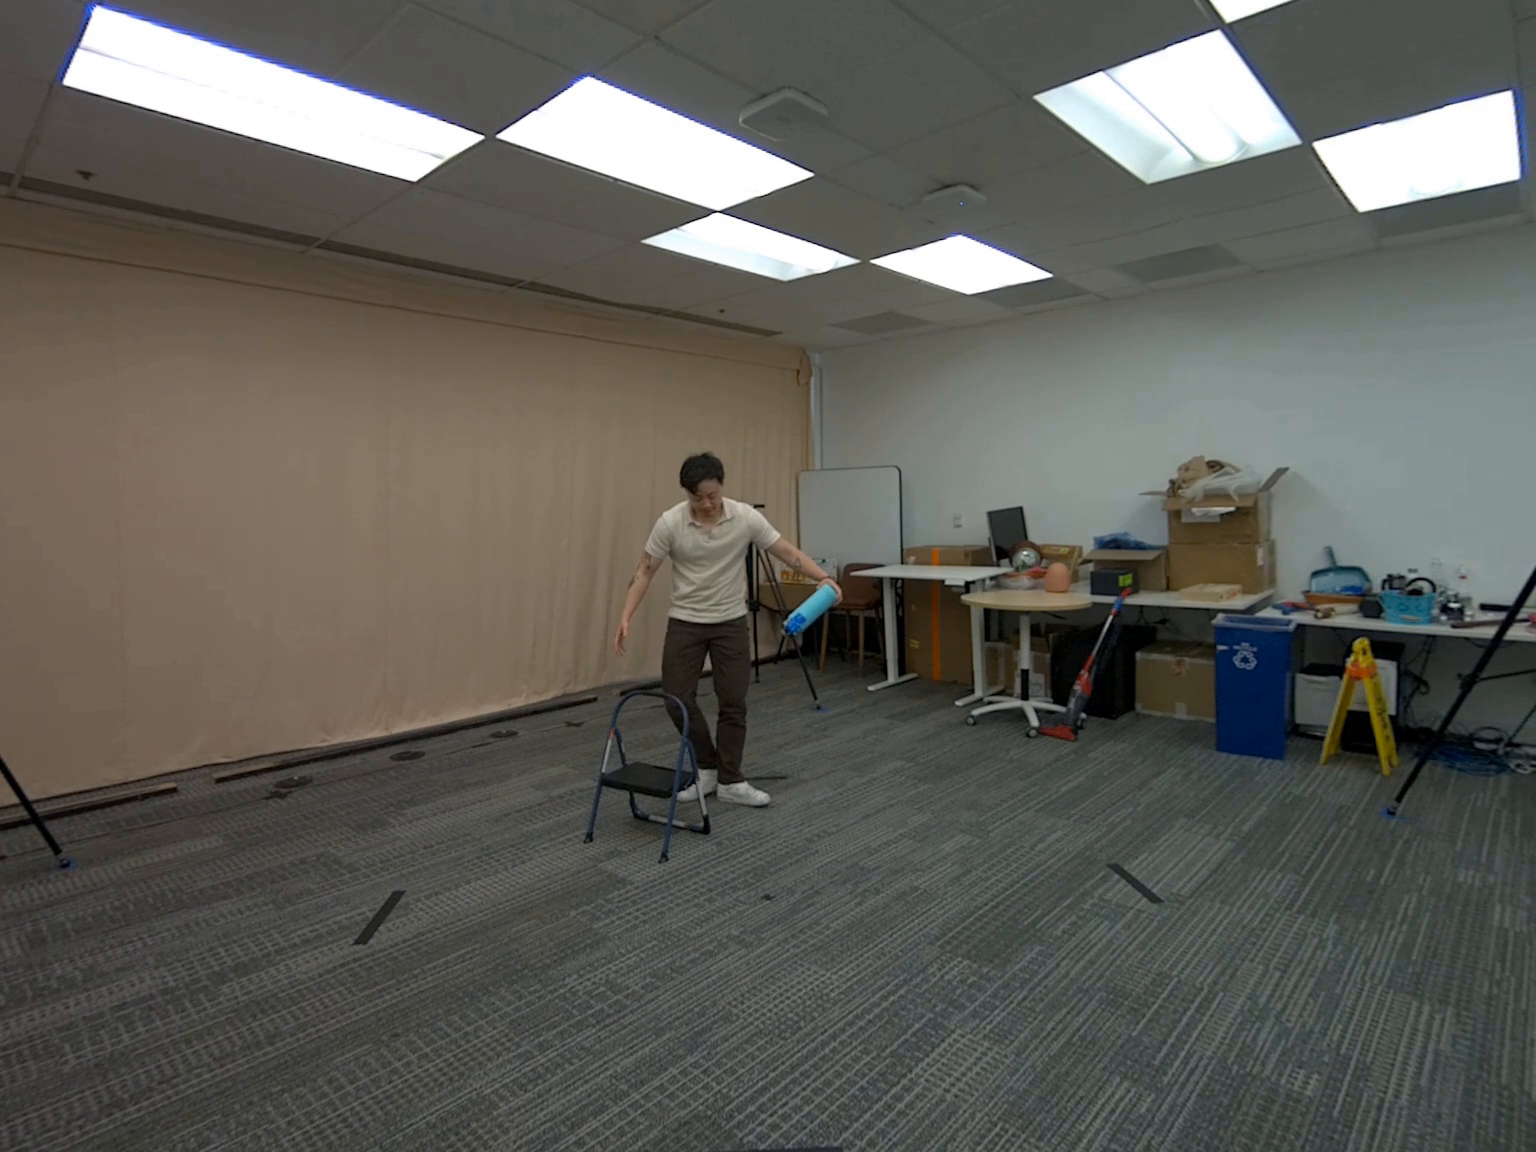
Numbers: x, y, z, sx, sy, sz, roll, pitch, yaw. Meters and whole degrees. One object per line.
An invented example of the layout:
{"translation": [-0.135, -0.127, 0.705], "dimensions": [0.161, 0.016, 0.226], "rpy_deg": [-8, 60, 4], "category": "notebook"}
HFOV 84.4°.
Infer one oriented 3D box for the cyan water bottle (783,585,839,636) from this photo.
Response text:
{"translation": [0.163, 0.166, 3.618], "dimensions": [0.282, 0.091, 0.094], "rpy_deg": [-41, 14, -11], "category": "cyan water bottle"}
